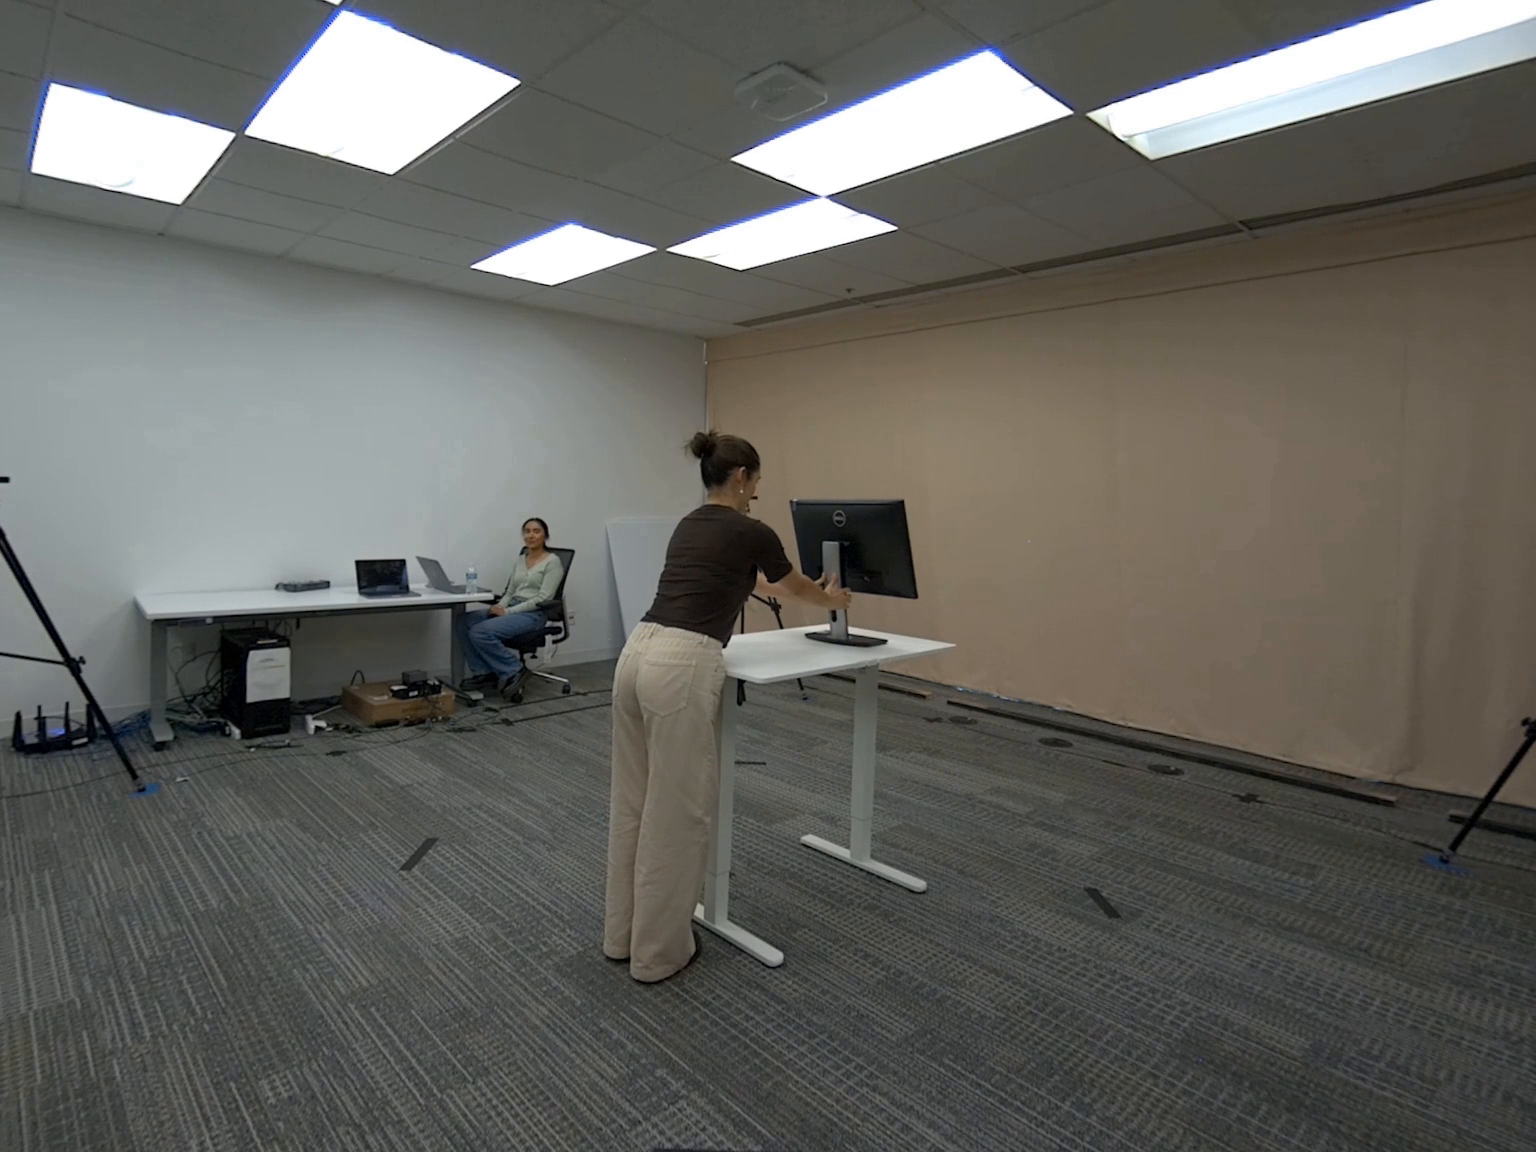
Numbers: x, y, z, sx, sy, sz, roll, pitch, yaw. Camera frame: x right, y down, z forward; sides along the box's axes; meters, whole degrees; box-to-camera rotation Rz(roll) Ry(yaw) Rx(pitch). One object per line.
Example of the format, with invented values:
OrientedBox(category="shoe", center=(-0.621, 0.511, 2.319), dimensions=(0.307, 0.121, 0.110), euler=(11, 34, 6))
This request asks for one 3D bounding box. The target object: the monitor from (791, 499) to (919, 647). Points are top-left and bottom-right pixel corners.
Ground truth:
OrientedBox(category="monitor", center=(0.272, -0.014, 3.042), dimensions=(0.183, 0.521, 0.553), euler=(-5, 7, -44))
